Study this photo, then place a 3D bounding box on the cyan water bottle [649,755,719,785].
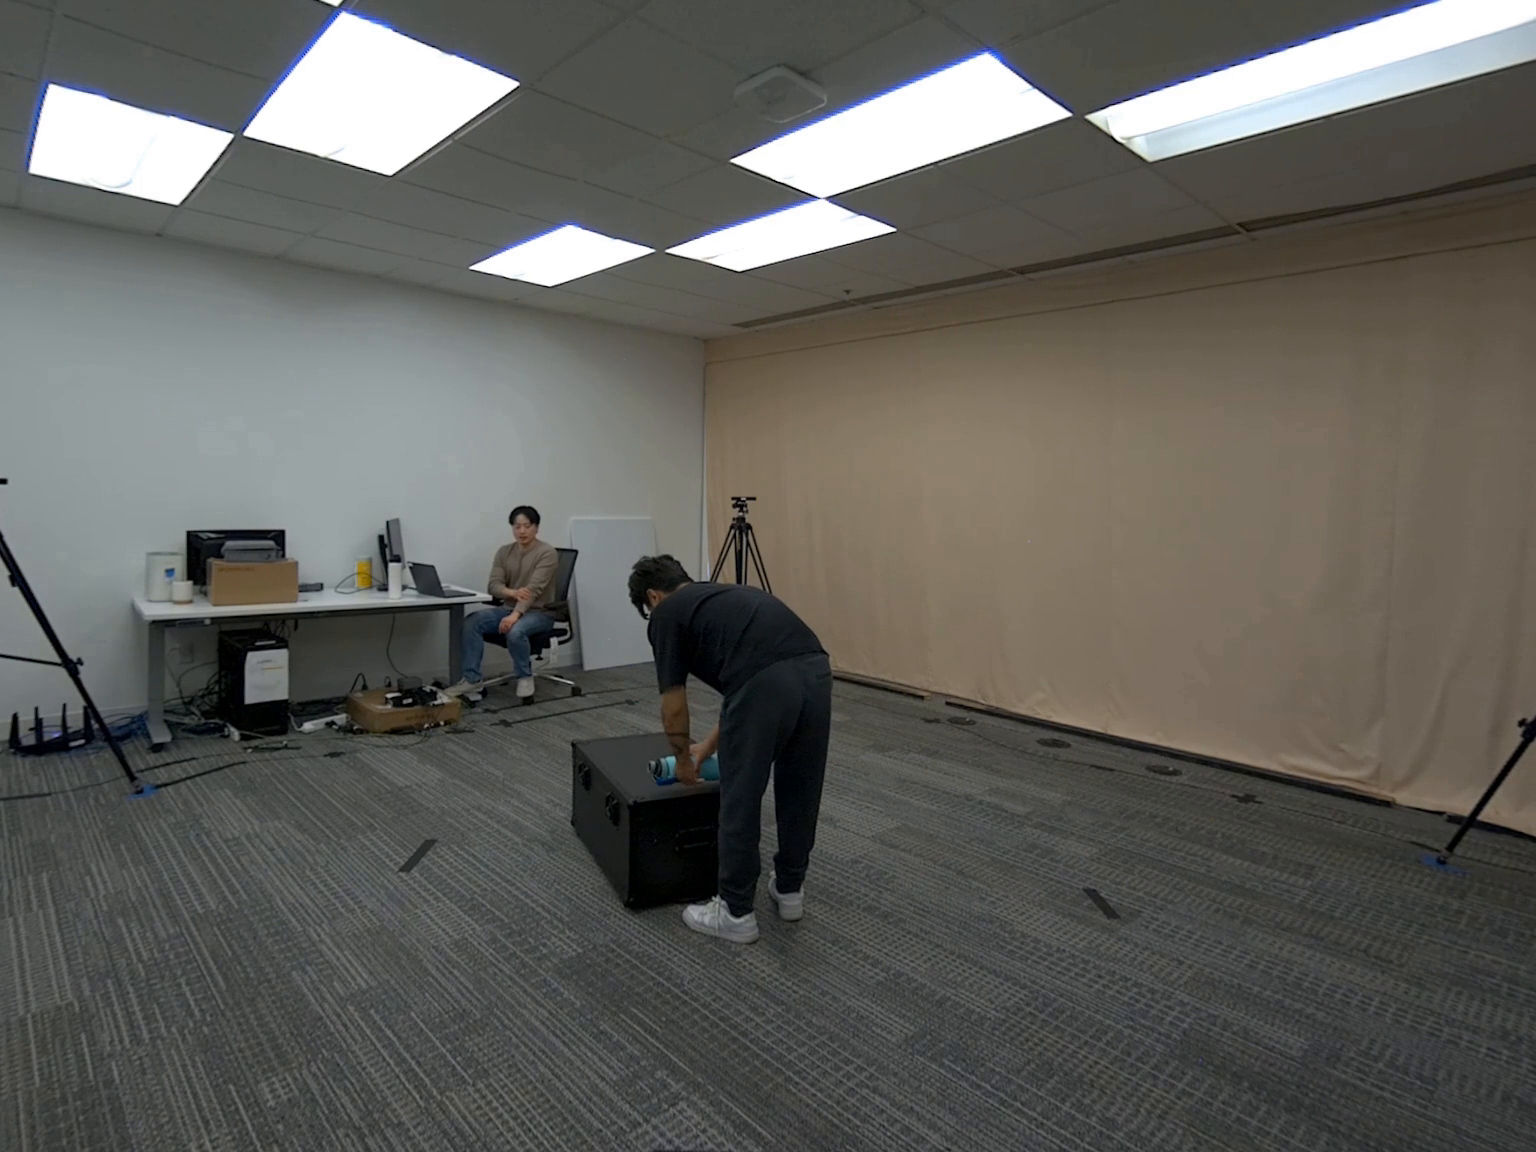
[{"bbox_3d":[-0.282,0.671,2.934,0.278,0.092,0.094,2,3,-26],"label":"cyan water bottle"}]
